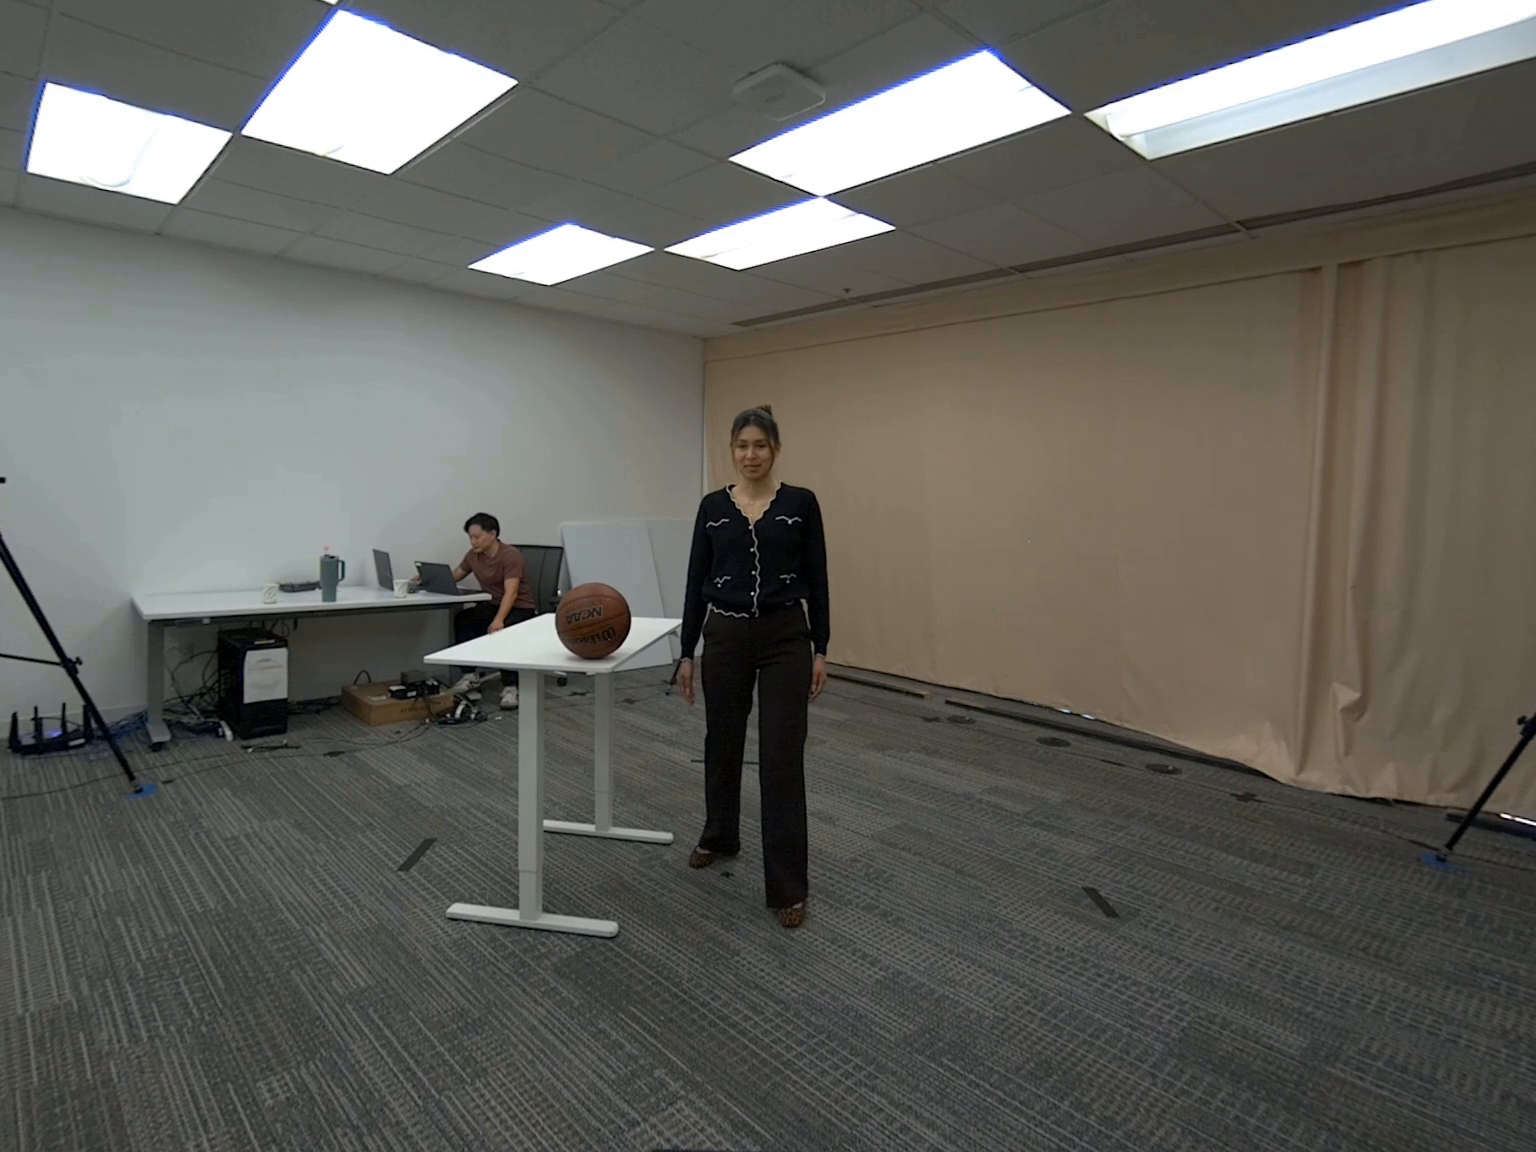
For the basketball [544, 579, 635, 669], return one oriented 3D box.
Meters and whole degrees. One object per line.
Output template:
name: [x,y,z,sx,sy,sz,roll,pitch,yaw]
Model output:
basketball: [-0.548,0.141,2.618,0.236,0.235,0.237,1,4,-1]
